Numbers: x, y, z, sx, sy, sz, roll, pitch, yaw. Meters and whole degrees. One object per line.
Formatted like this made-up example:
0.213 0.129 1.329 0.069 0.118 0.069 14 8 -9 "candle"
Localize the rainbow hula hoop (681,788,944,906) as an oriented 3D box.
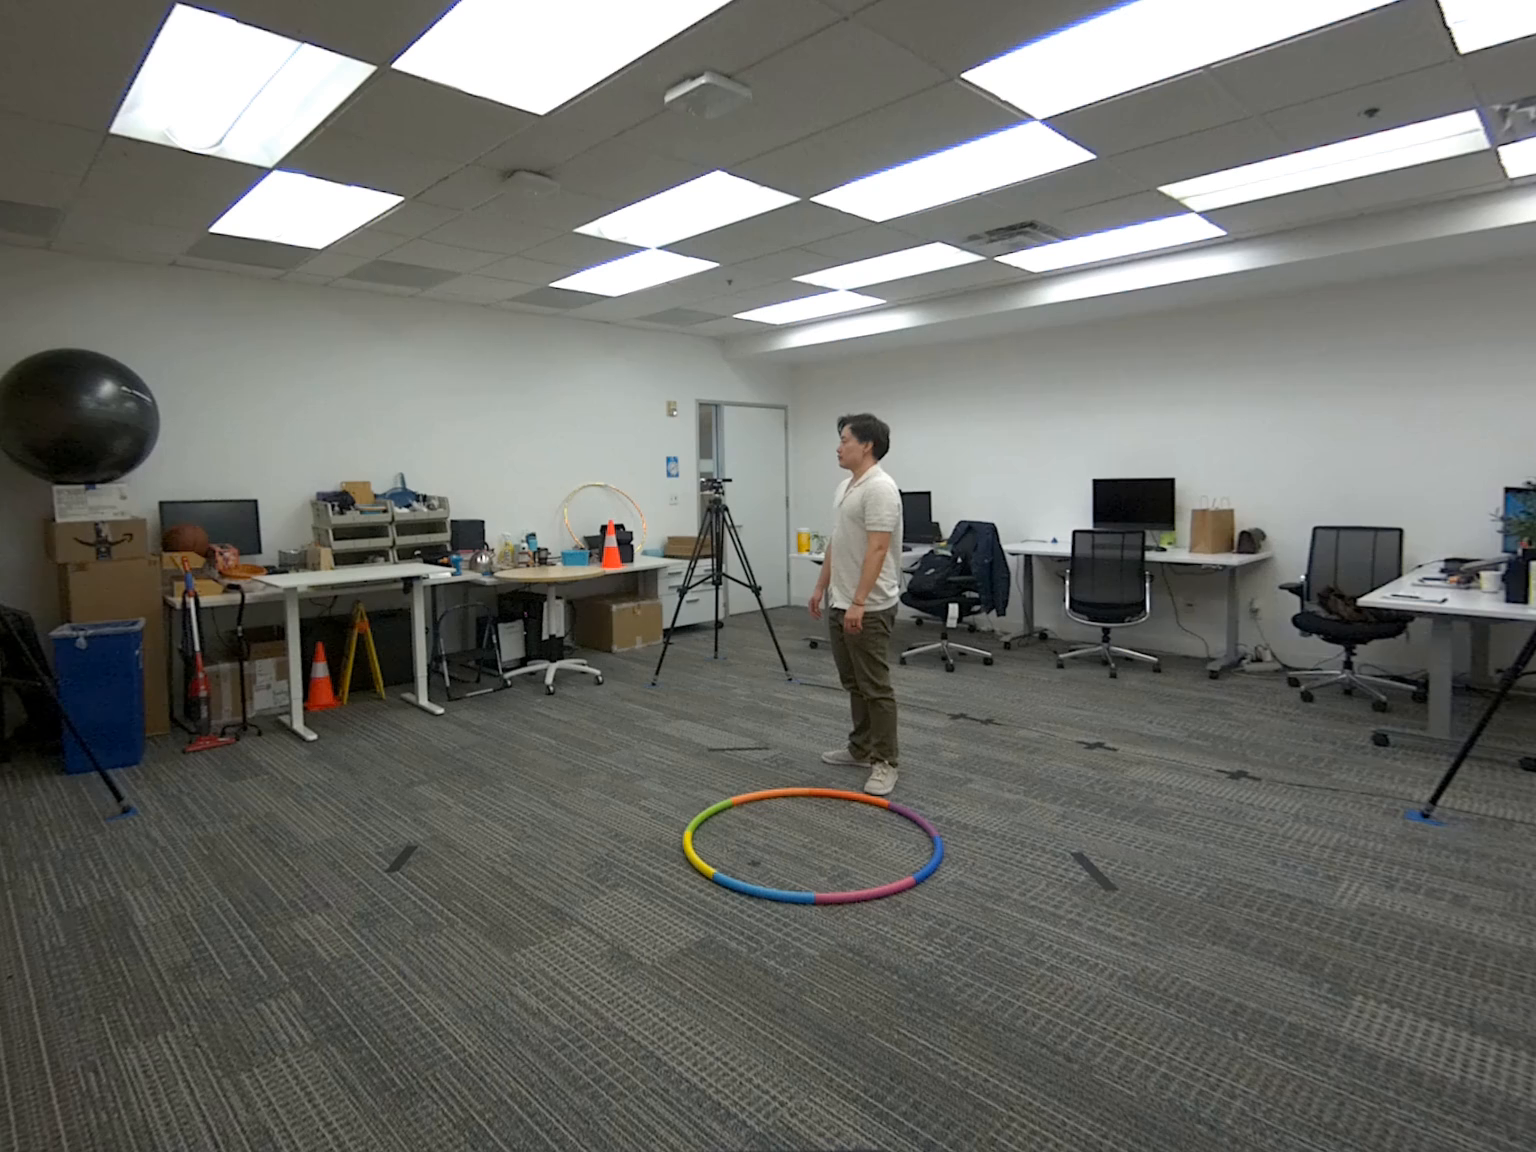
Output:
0.164 0.991 3.277 0.978 0.035 0.984 -1 7 -2 "rainbow hula hoop"
